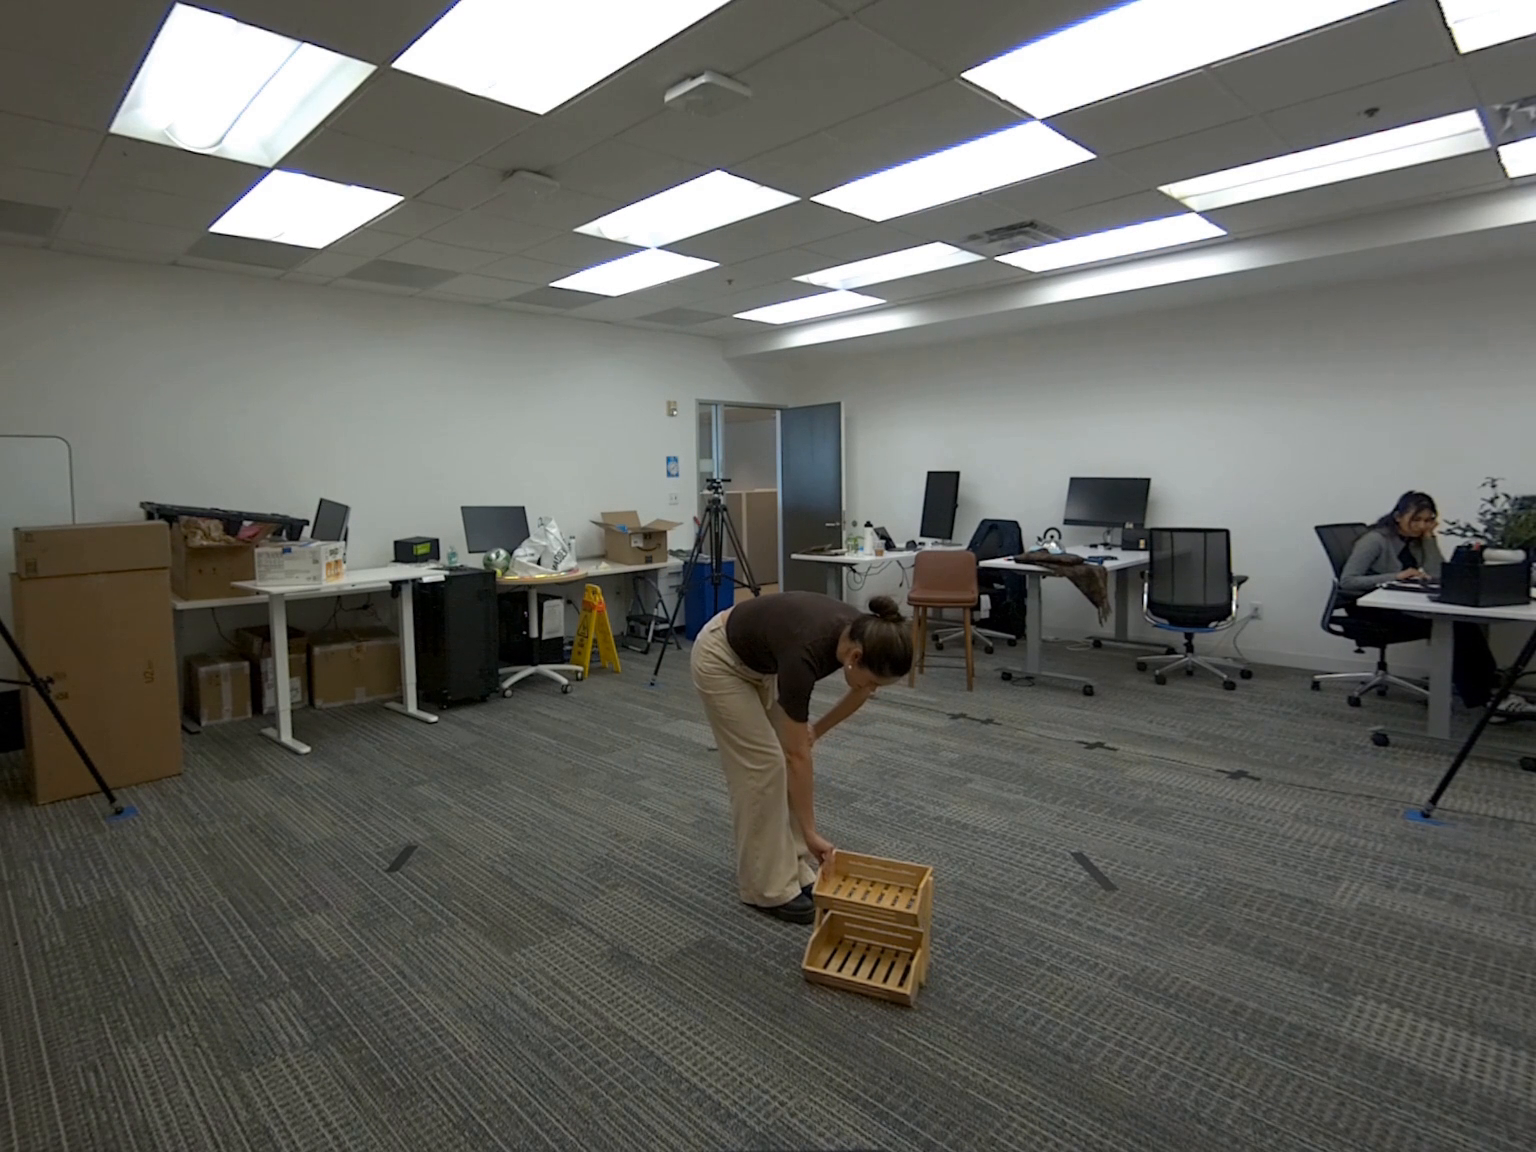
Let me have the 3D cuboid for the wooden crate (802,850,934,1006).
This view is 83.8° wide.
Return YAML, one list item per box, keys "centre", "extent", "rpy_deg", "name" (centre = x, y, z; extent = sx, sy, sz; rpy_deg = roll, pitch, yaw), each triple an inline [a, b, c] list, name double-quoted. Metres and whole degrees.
- centre: [0.294, 0.983, 2.421]
  extent: [0.332, 0.272, 0.296]
  rpy_deg: [1, 5, 24]
  name: "wooden crate"
